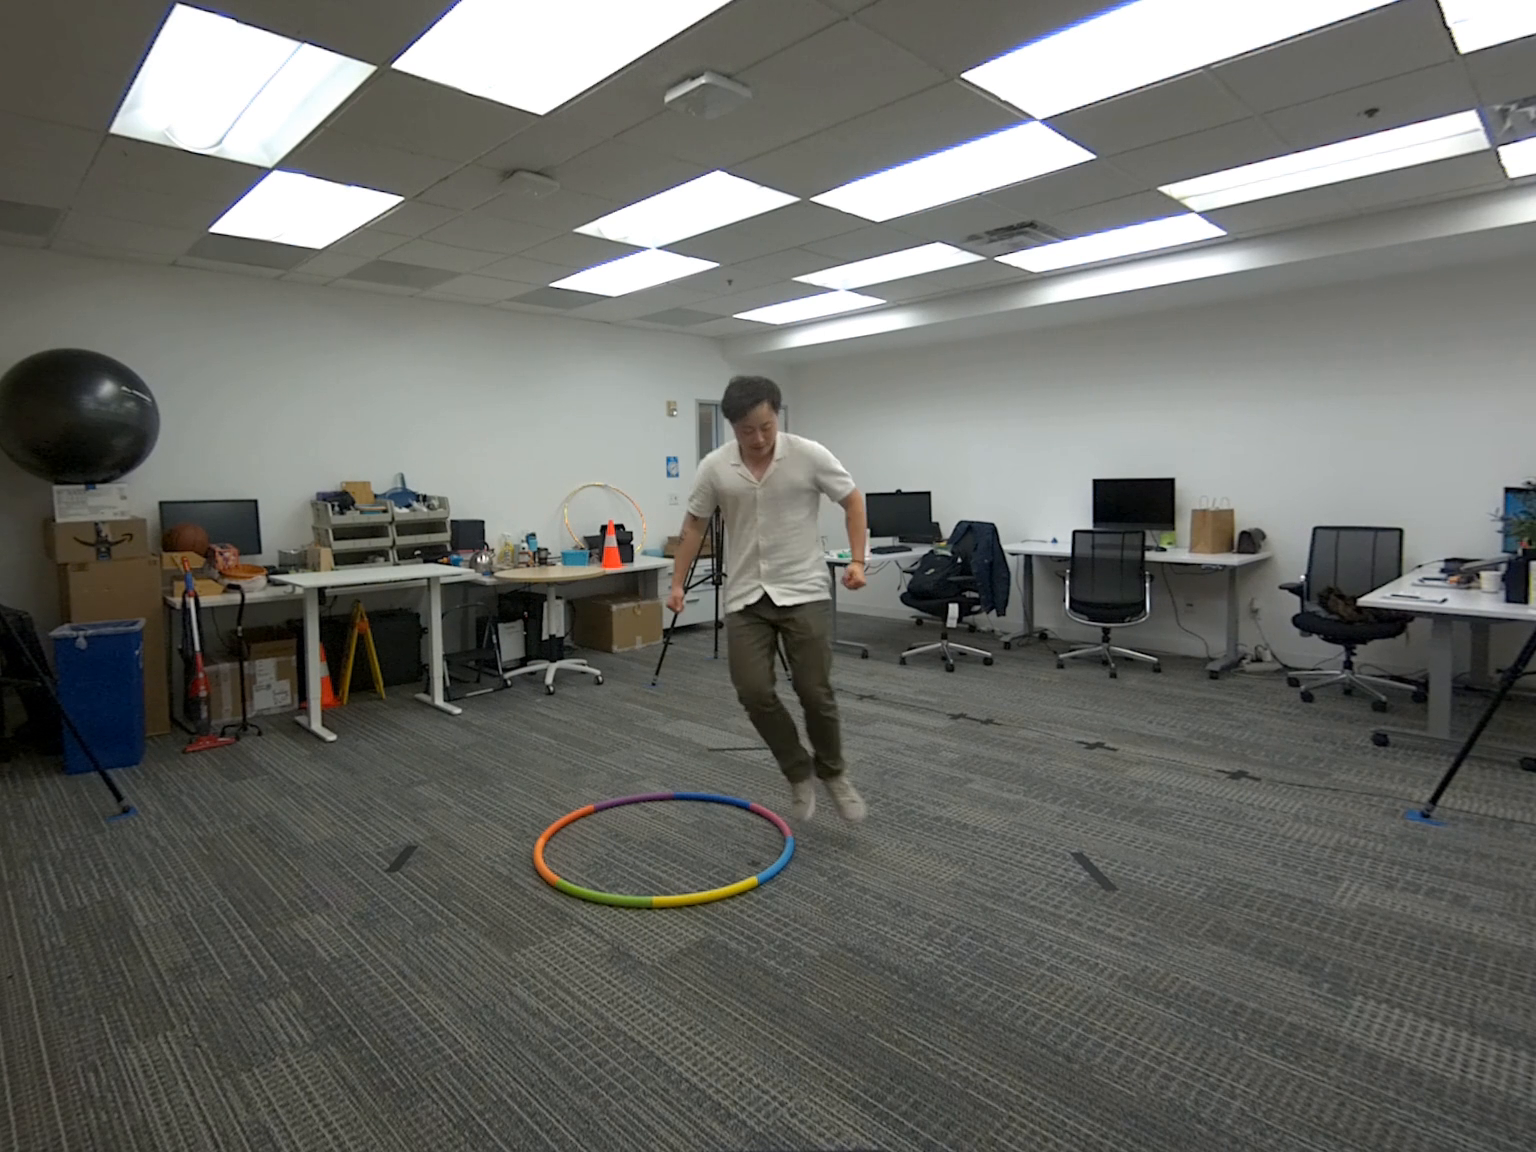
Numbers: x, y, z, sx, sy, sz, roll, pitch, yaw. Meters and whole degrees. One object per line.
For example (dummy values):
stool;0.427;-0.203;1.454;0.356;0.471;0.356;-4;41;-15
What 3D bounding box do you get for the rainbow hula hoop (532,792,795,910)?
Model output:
rainbow hula hoop;-0.390;1.004;3.270;0.978;0.035;0.984;-1;6;-2
